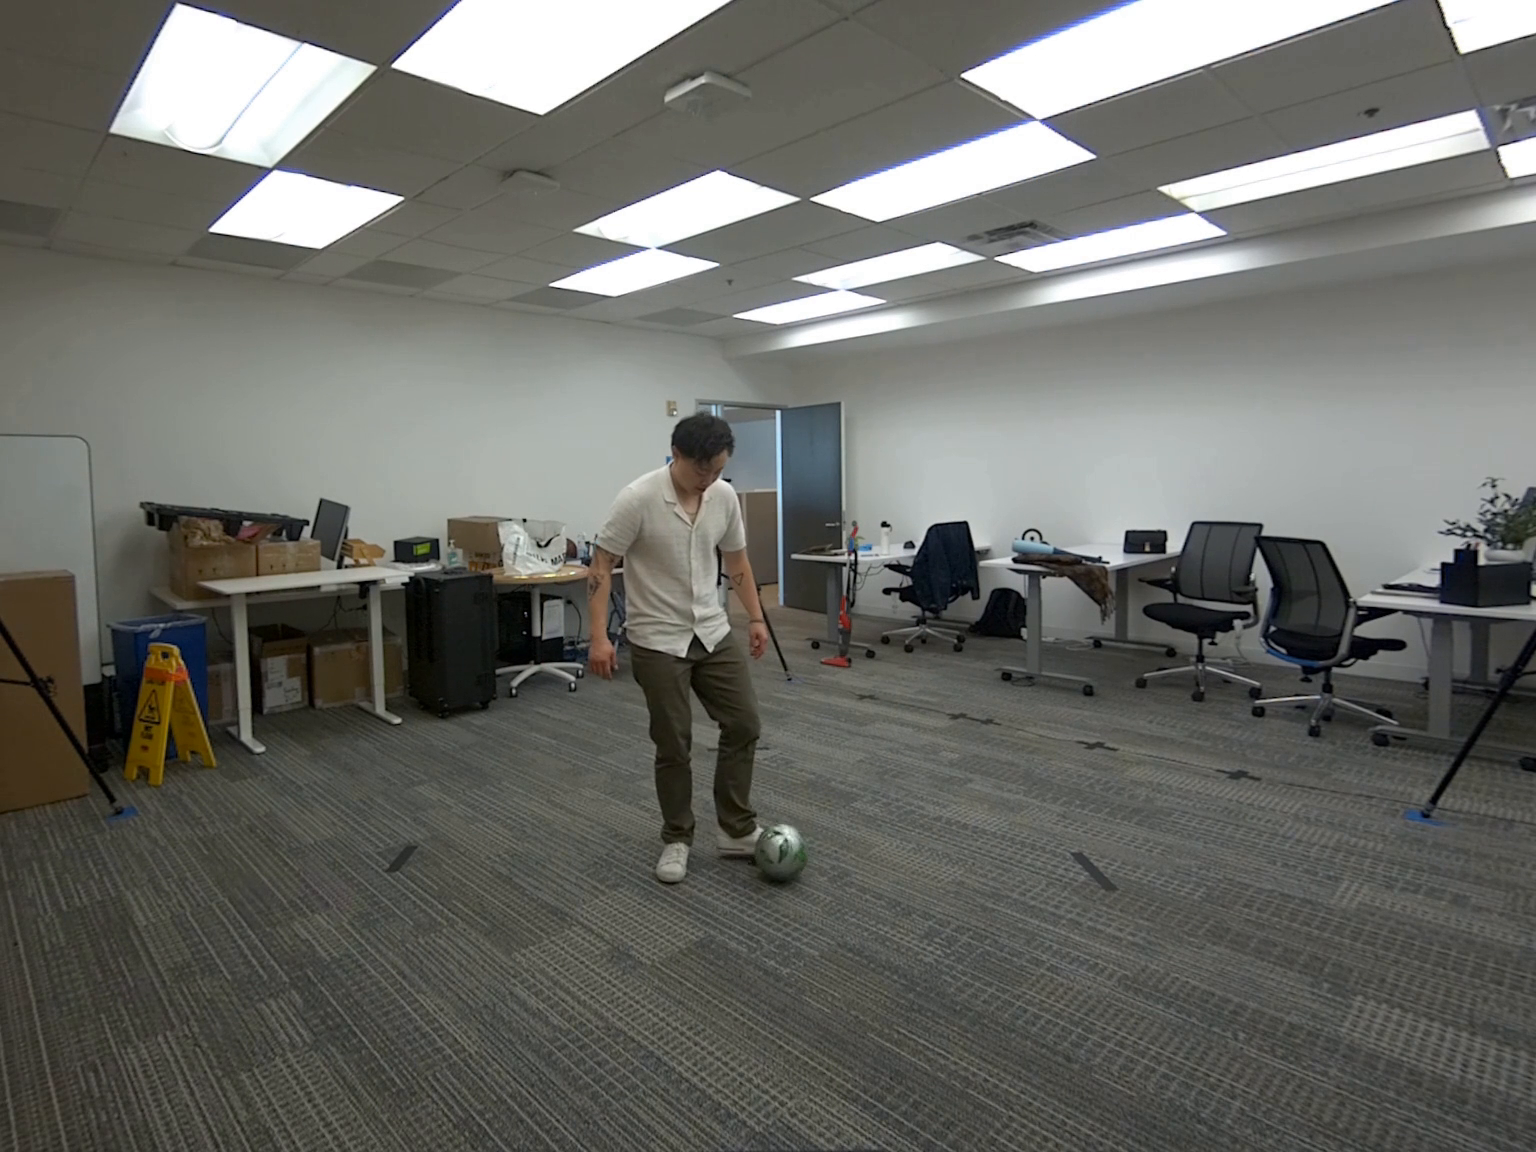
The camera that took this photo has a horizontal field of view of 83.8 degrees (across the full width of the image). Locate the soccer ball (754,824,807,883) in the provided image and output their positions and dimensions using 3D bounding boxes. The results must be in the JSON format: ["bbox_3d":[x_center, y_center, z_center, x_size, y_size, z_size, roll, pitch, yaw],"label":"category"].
[{"bbox_3d":[0.045,0.960,2.978,0.187,0.187,0.188,-1,5,-2],"label":"soccer ball"}]
